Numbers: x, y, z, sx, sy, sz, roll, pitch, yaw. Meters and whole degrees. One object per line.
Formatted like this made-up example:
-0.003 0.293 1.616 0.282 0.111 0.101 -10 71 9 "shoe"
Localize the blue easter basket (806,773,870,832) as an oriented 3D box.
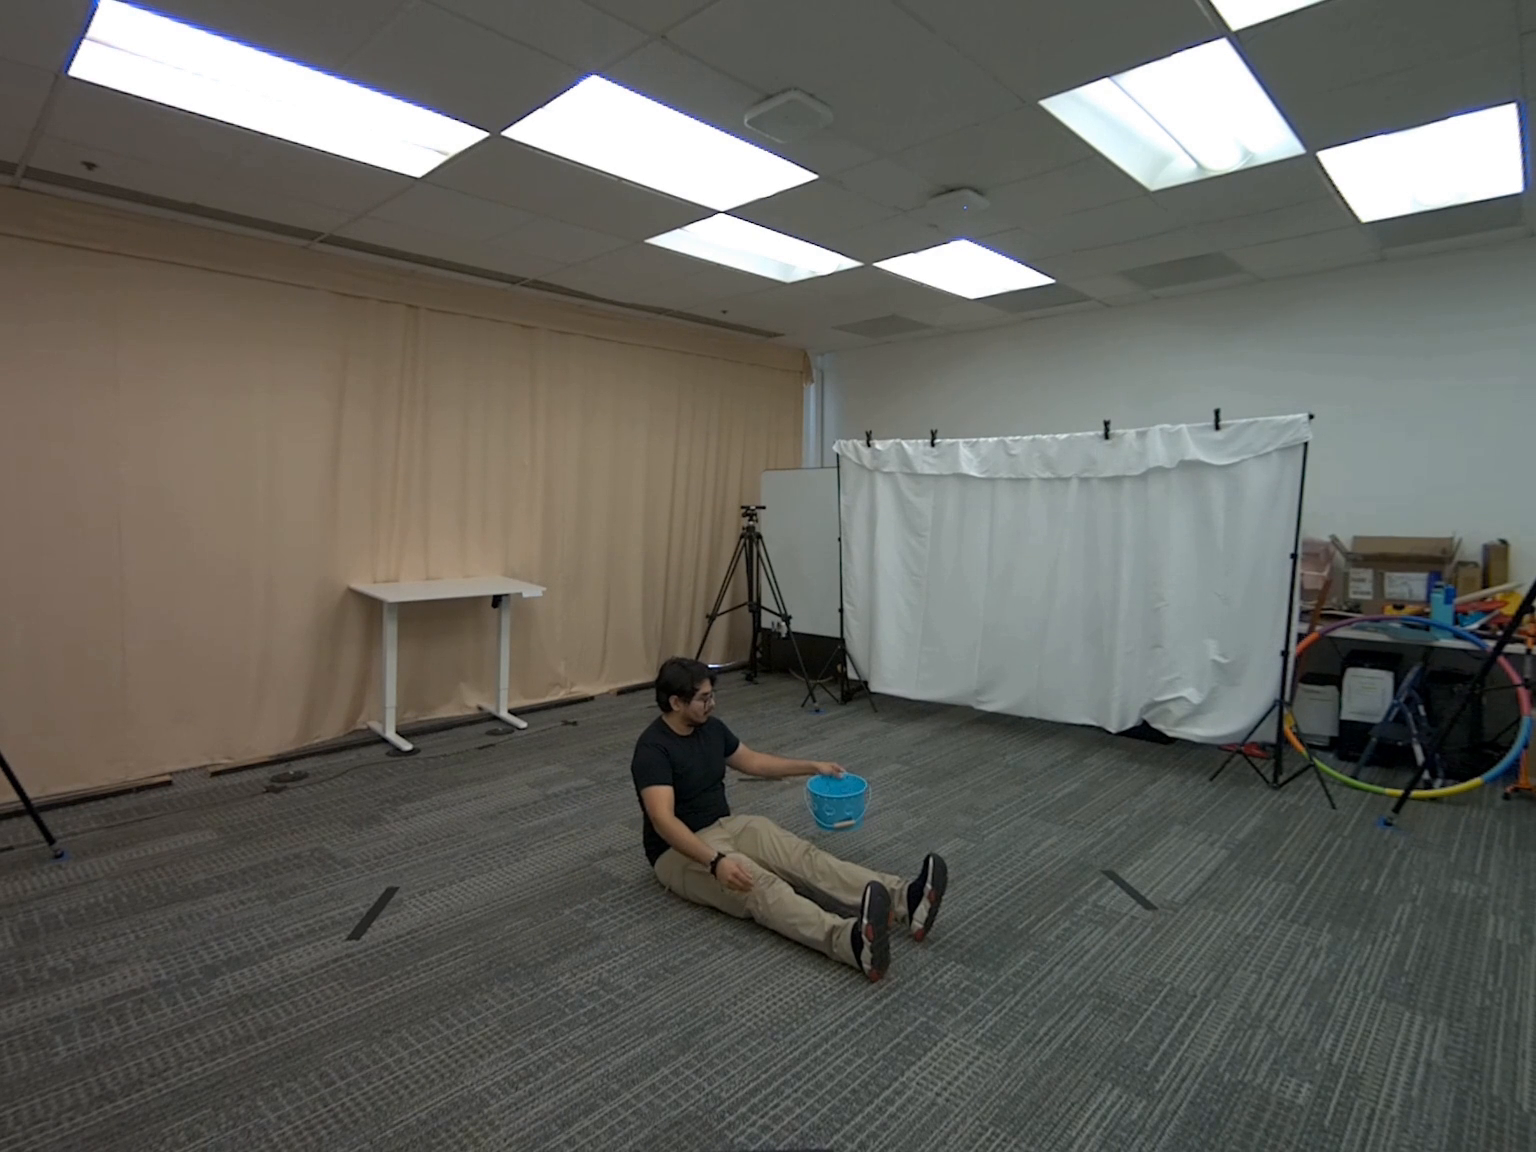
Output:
0.263 0.884 3.227 0.243 0.155 0.245 -3 8 -2 "blue easter basket"
